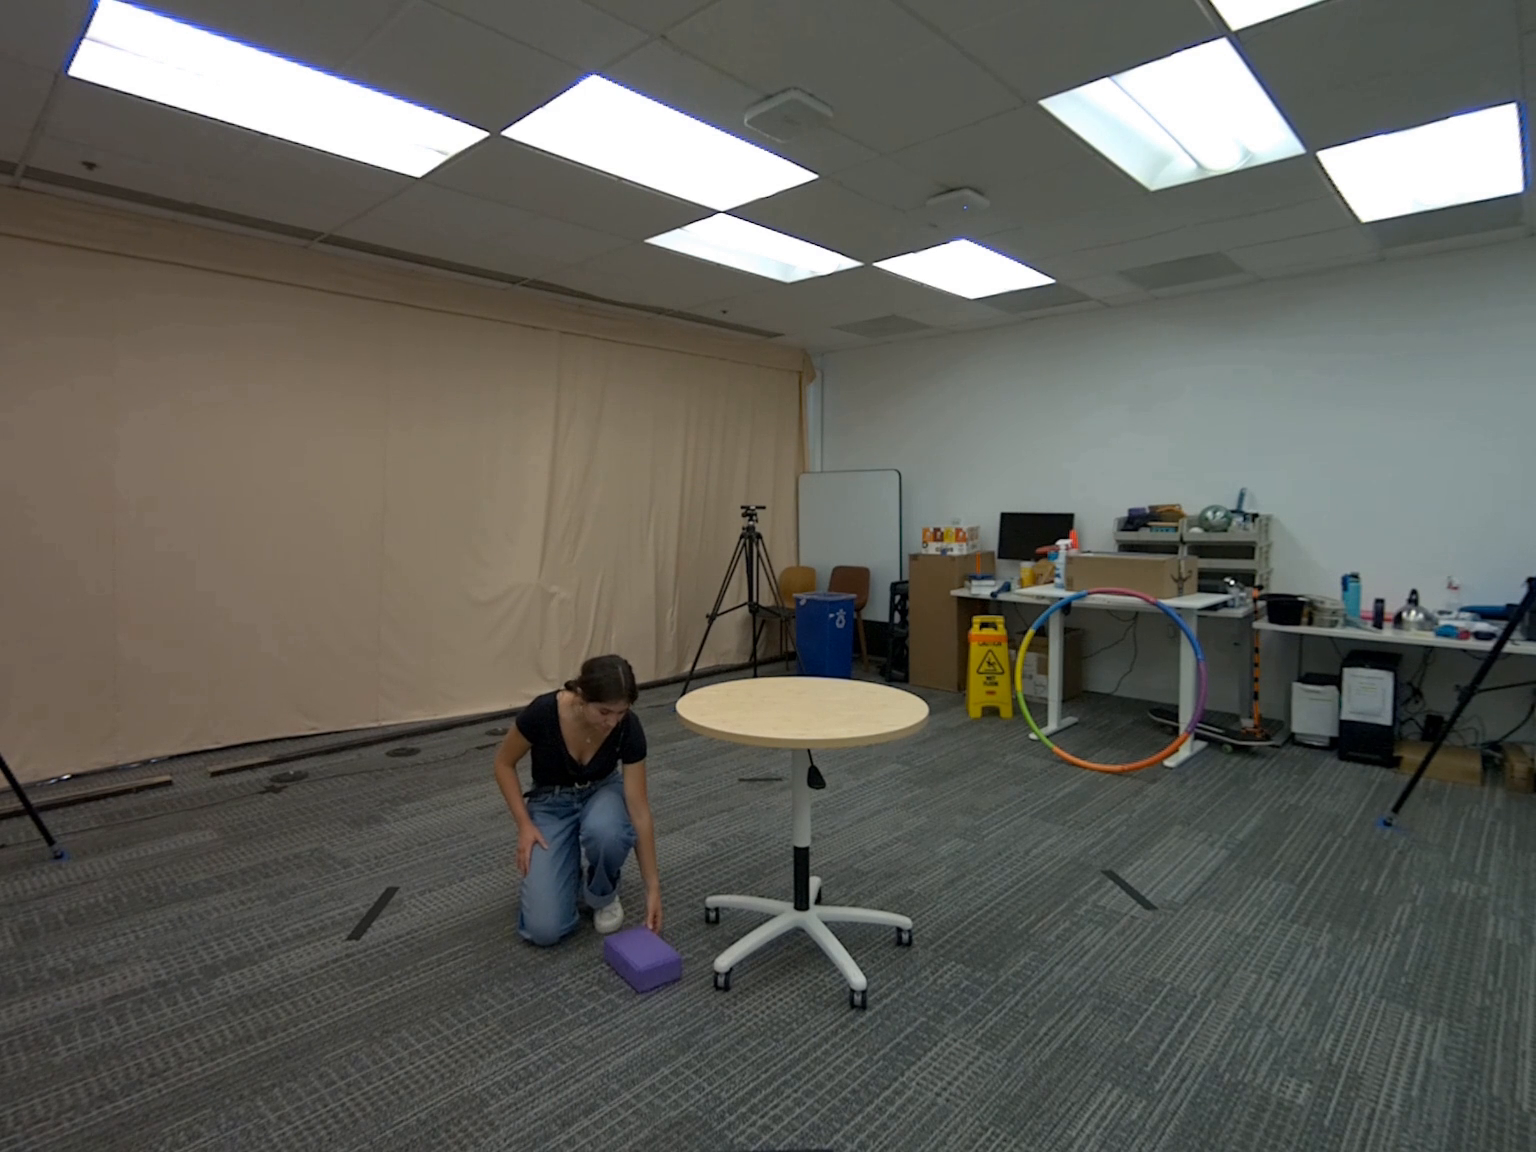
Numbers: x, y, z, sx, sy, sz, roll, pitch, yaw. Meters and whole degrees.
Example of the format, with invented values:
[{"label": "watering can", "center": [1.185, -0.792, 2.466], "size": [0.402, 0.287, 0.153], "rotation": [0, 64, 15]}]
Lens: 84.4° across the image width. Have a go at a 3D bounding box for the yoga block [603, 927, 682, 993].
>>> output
[{"label": "yoga block", "center": [-0.369, 1.144, 2.526], "size": [0.144, 0.076, 0.237], "rotation": [-3, 7, -38]}]
